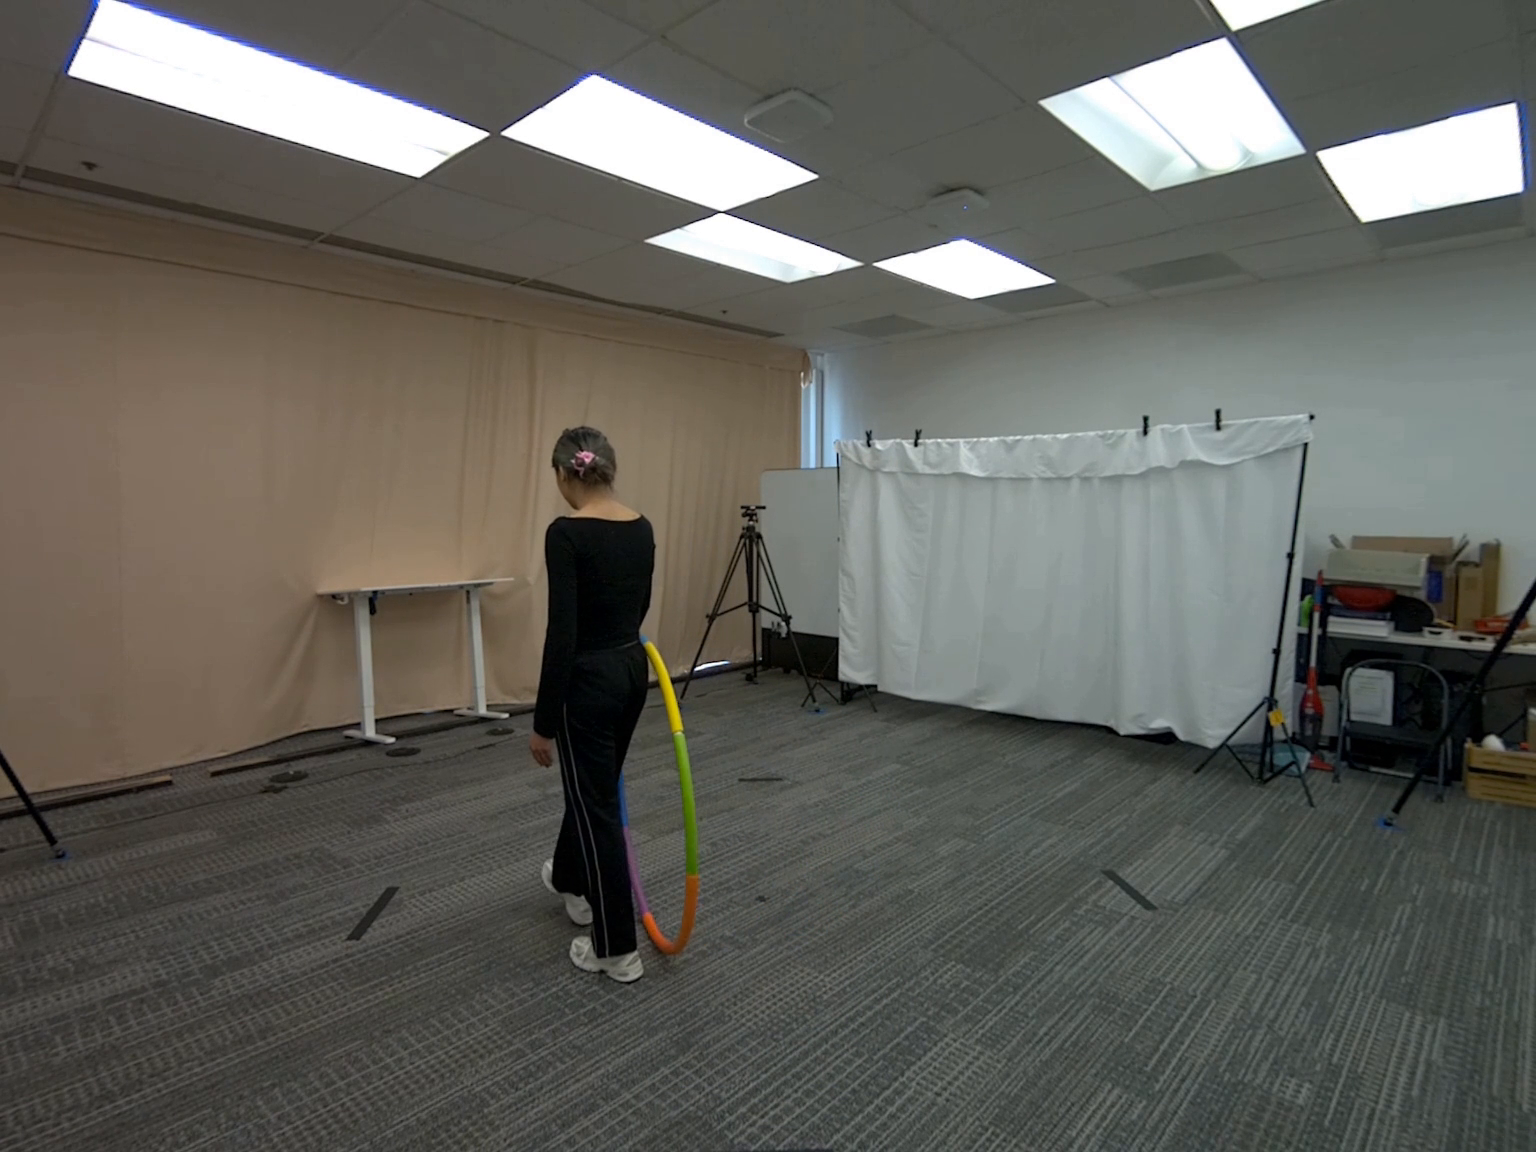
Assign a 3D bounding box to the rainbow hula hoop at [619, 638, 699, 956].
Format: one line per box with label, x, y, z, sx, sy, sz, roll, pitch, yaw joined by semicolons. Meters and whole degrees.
rainbow hula hoop;-0.385;0.683;2.698;0.035;0.976;1.001;-2;5;-22
